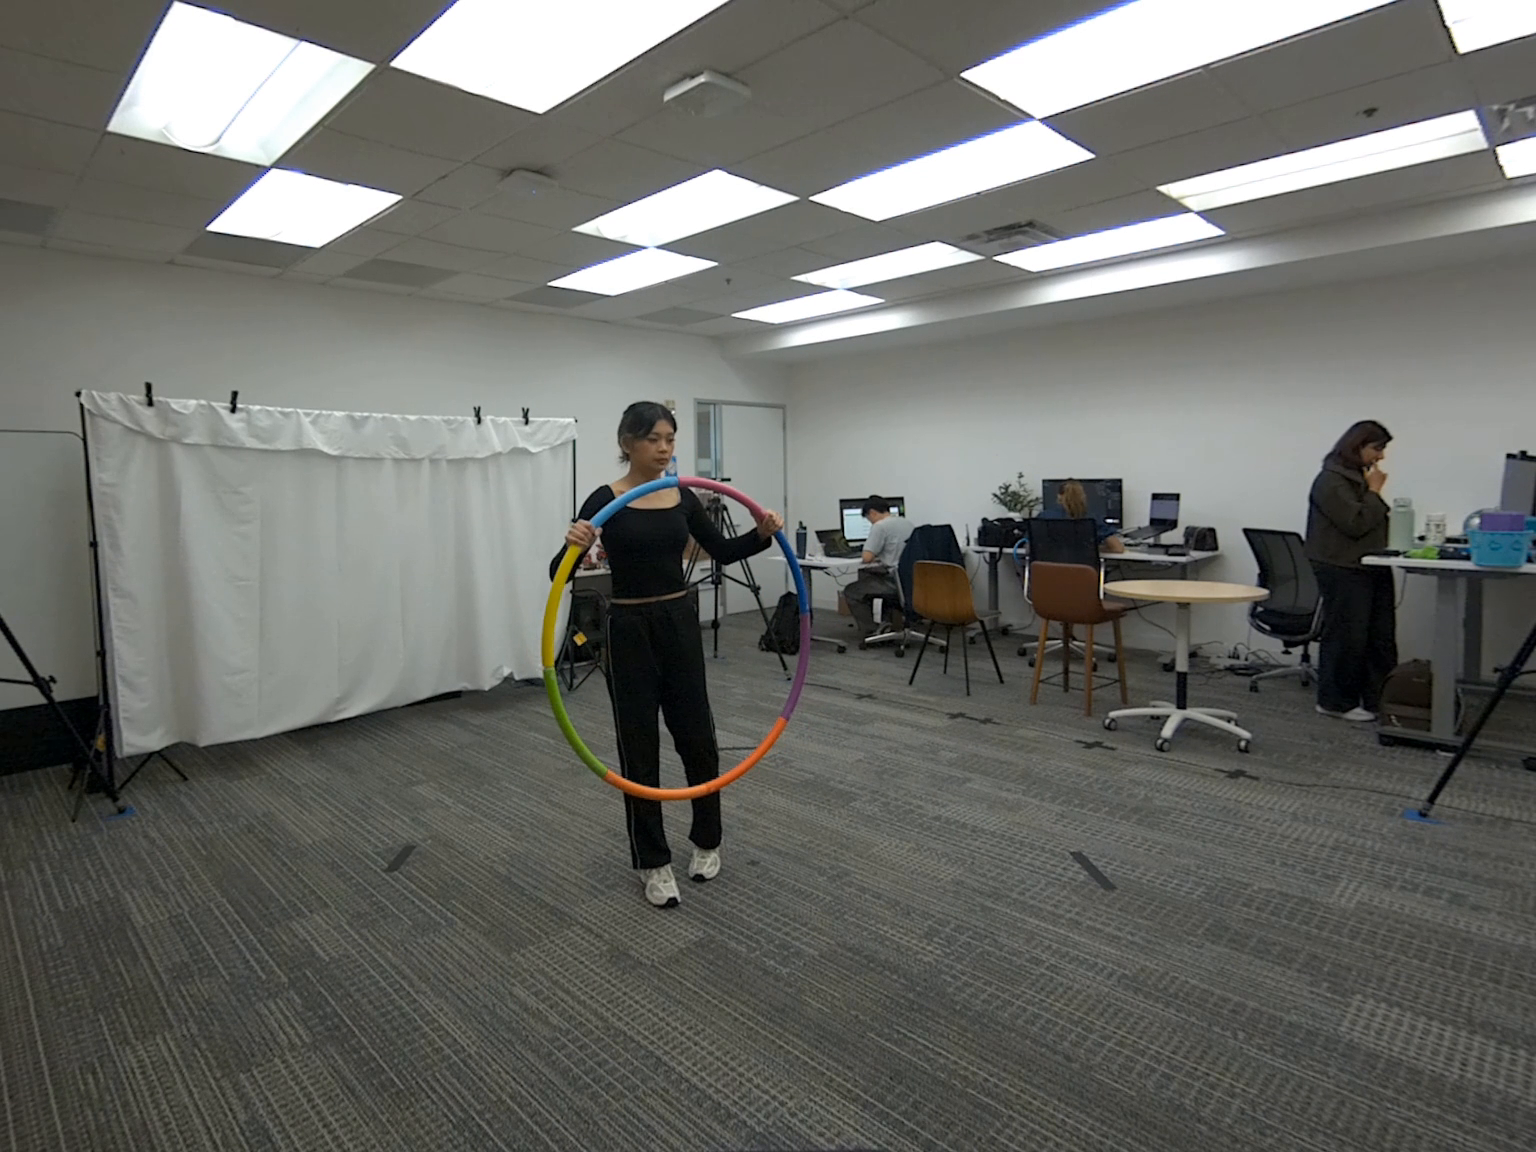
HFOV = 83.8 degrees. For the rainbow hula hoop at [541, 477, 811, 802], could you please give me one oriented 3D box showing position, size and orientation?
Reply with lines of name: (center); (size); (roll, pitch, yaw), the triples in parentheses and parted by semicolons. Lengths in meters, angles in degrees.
rainbow hula hoop: (-0.245, 0.188, 2.659); (0.954, 0.977, 0.036); (-4, 2, -35)
